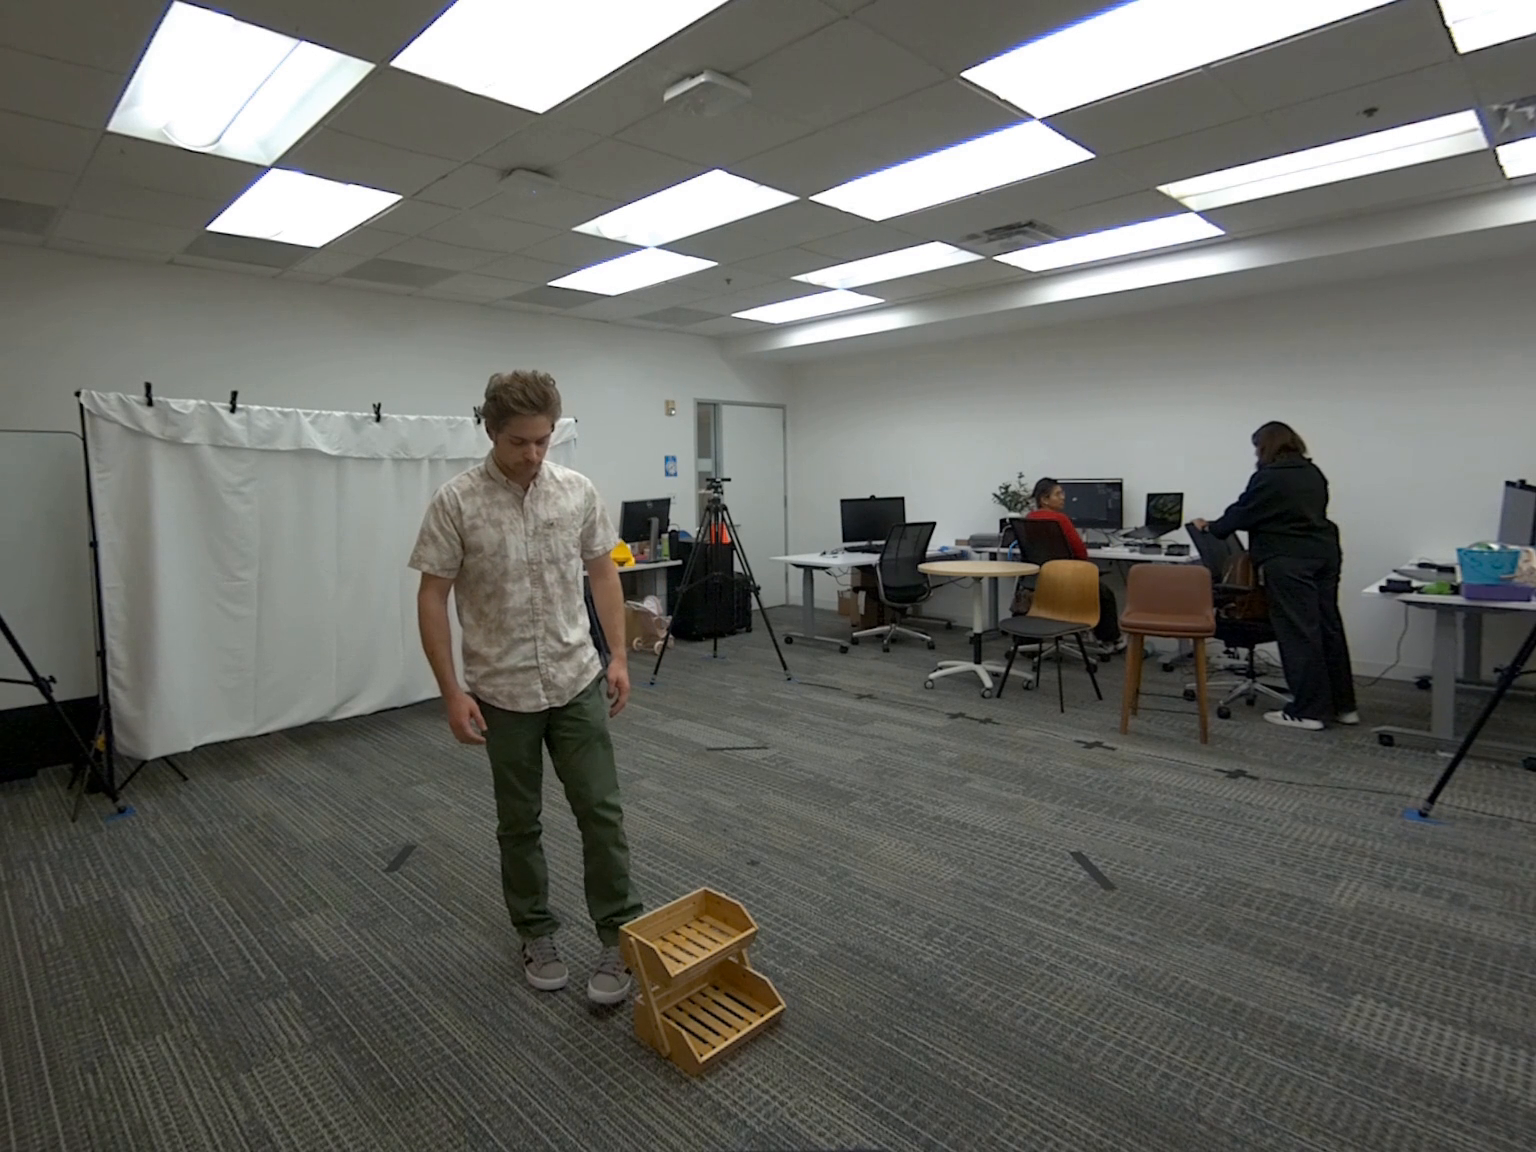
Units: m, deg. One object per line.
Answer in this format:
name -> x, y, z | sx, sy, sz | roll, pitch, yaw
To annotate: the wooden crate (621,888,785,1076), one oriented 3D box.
wooden crate -> -0.161, 1.023, 2.187 | 0.311, 0.272, 0.316 | 3, 6, 45
